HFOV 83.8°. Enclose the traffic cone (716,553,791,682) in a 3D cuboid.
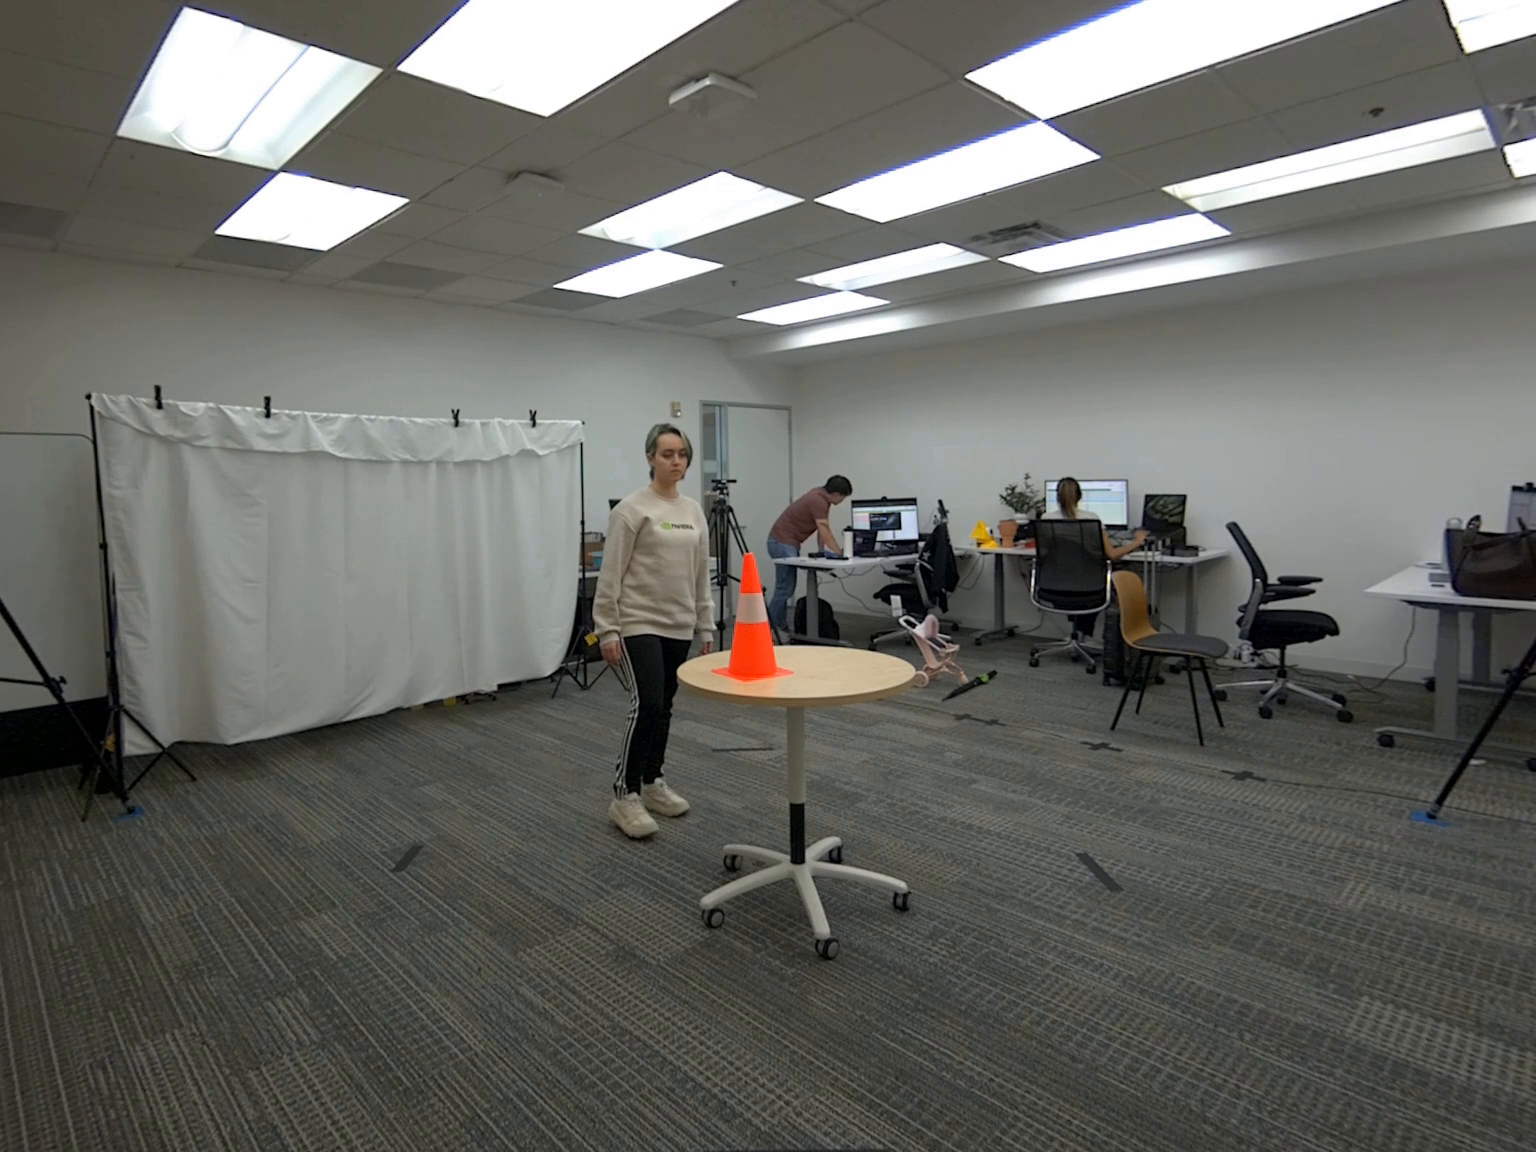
[{"bbox_3d":[-0.056,0.120,2.716,0.200,0.382,0.209,-6,6,-43],"label":"traffic cone"}]
